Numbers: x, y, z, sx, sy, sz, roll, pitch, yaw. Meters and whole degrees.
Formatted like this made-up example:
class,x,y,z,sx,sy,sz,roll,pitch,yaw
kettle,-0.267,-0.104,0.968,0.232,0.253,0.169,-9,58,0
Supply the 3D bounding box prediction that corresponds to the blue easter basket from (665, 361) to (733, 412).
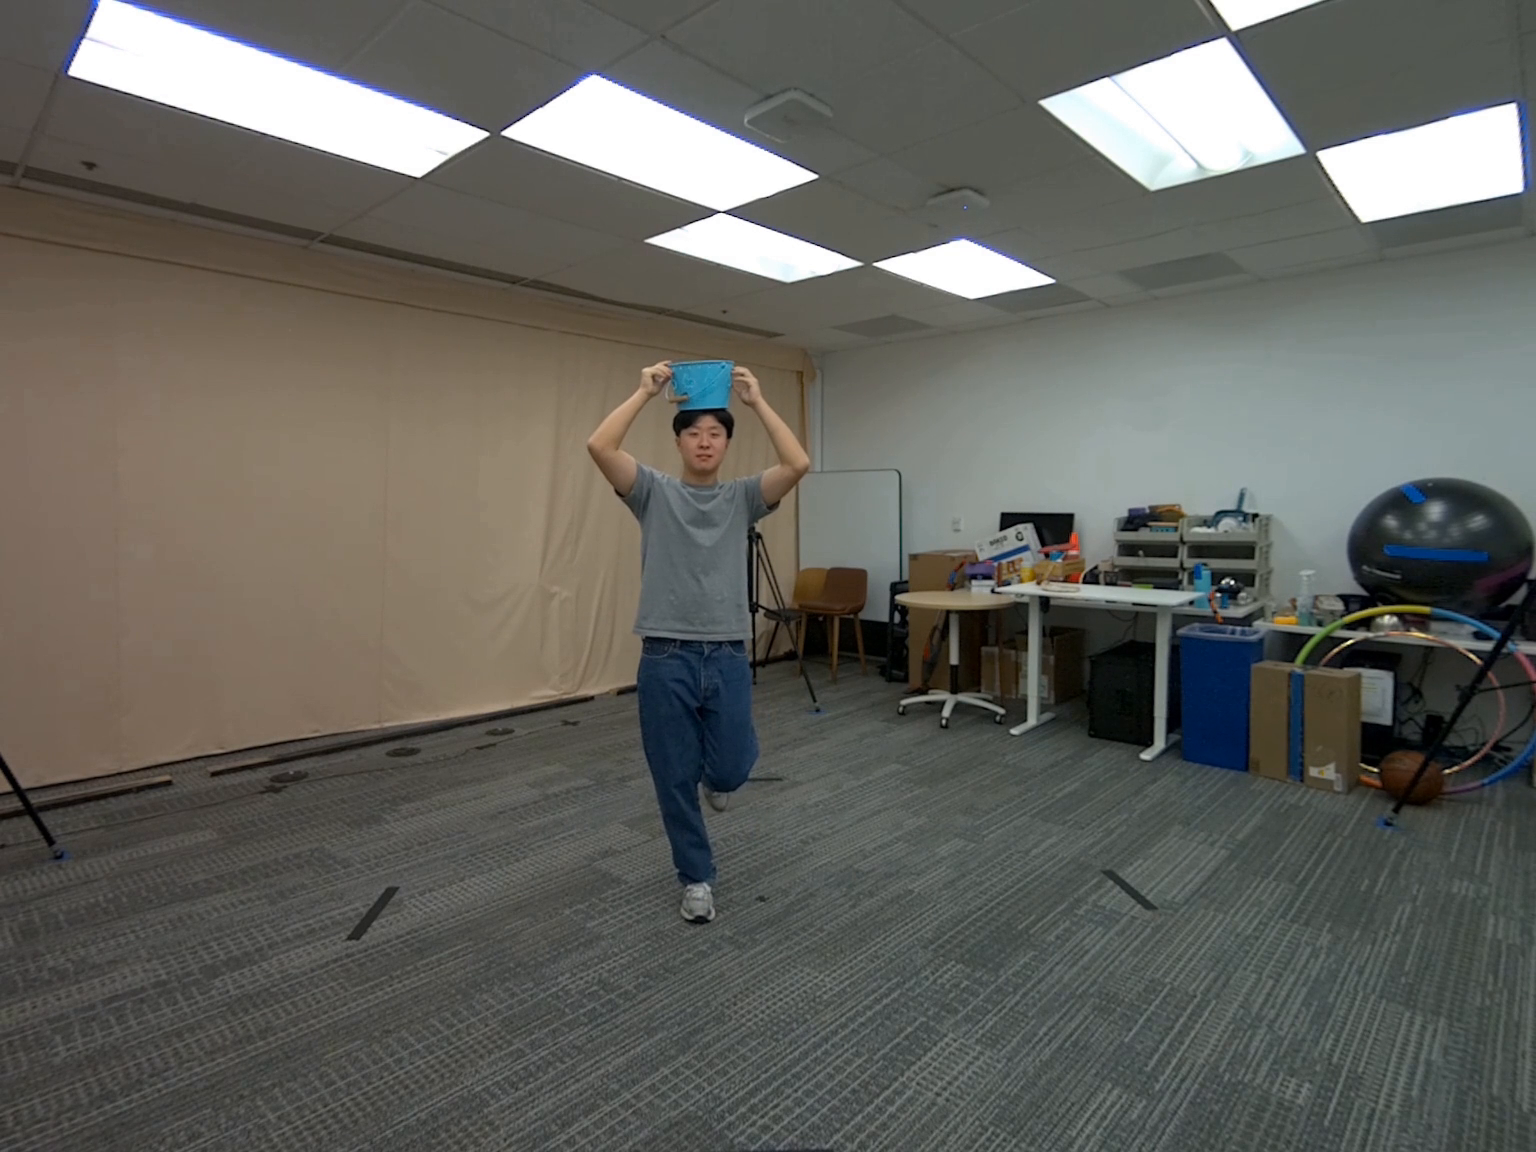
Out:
class,x,y,z,sx,sy,sz,roll,pitch,yaw
blue easter basket,-0.227,-0.642,2.862,0.243,0.155,0.245,-2,7,-2
